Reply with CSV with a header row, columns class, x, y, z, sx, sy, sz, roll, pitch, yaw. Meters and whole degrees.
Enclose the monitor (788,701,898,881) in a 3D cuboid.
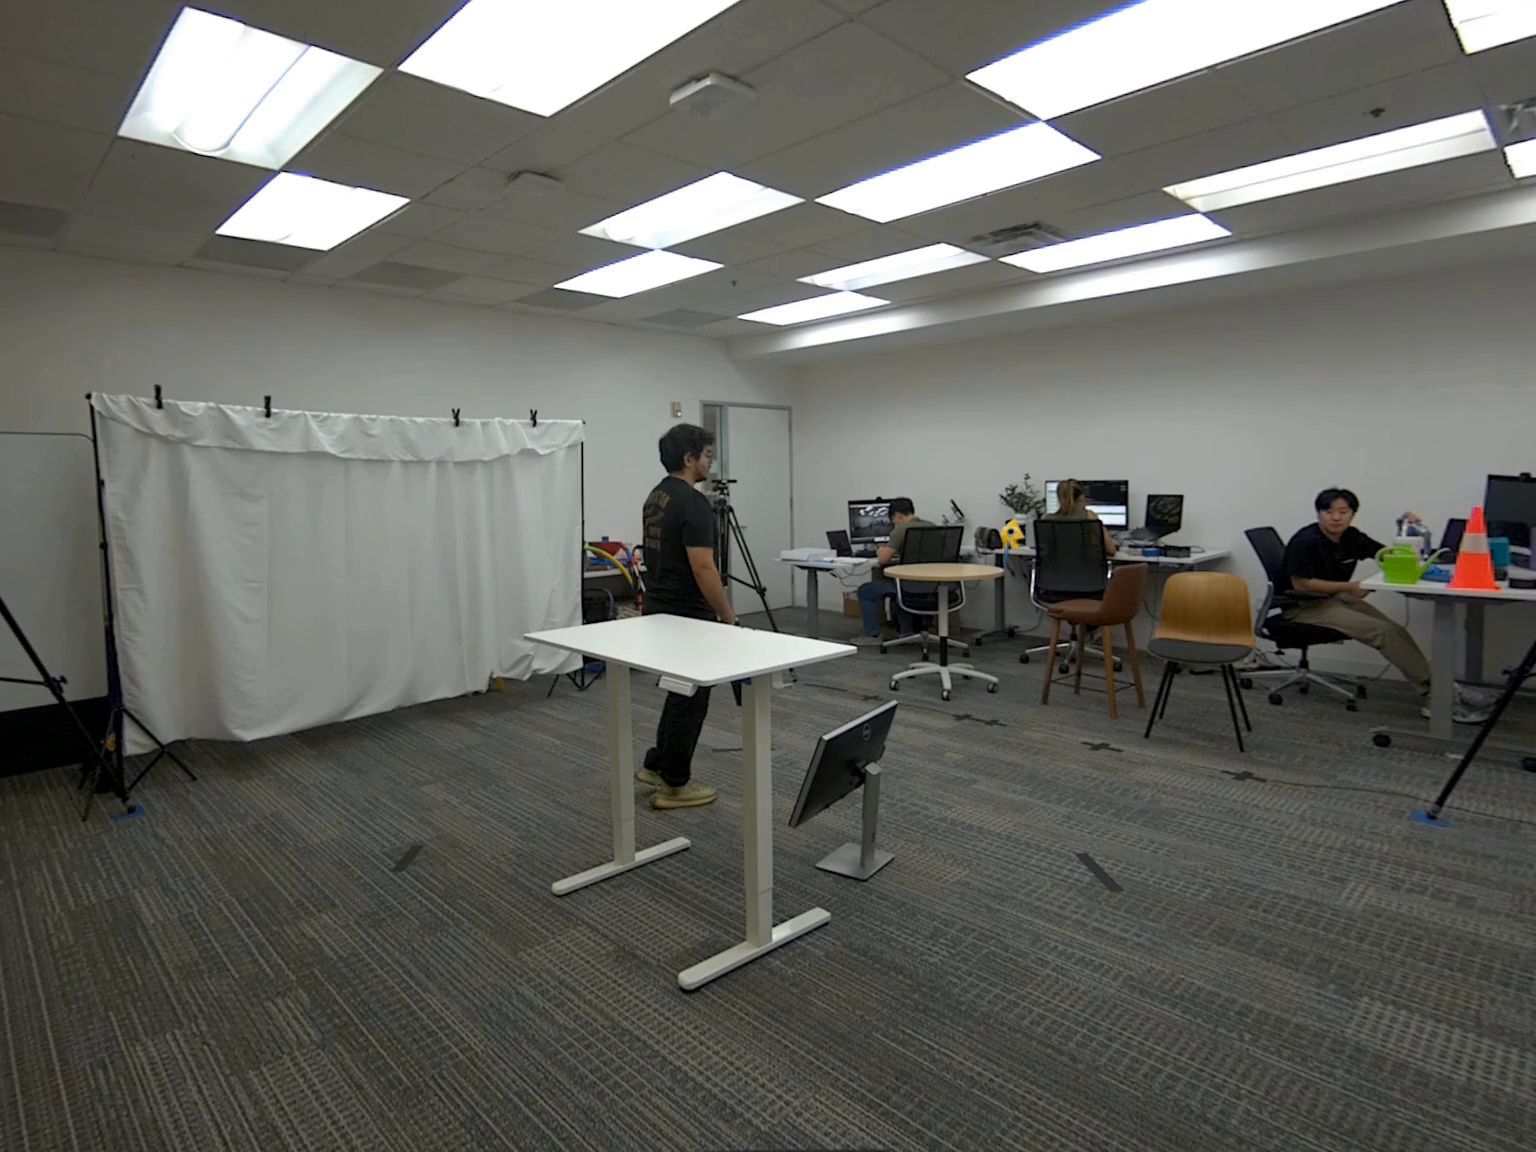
class,x,y,z,sx,sy,sz,roll,pitch,yaw
monitor,0.340,0.779,3.071,0.217,0.549,0.552,14,13,33
